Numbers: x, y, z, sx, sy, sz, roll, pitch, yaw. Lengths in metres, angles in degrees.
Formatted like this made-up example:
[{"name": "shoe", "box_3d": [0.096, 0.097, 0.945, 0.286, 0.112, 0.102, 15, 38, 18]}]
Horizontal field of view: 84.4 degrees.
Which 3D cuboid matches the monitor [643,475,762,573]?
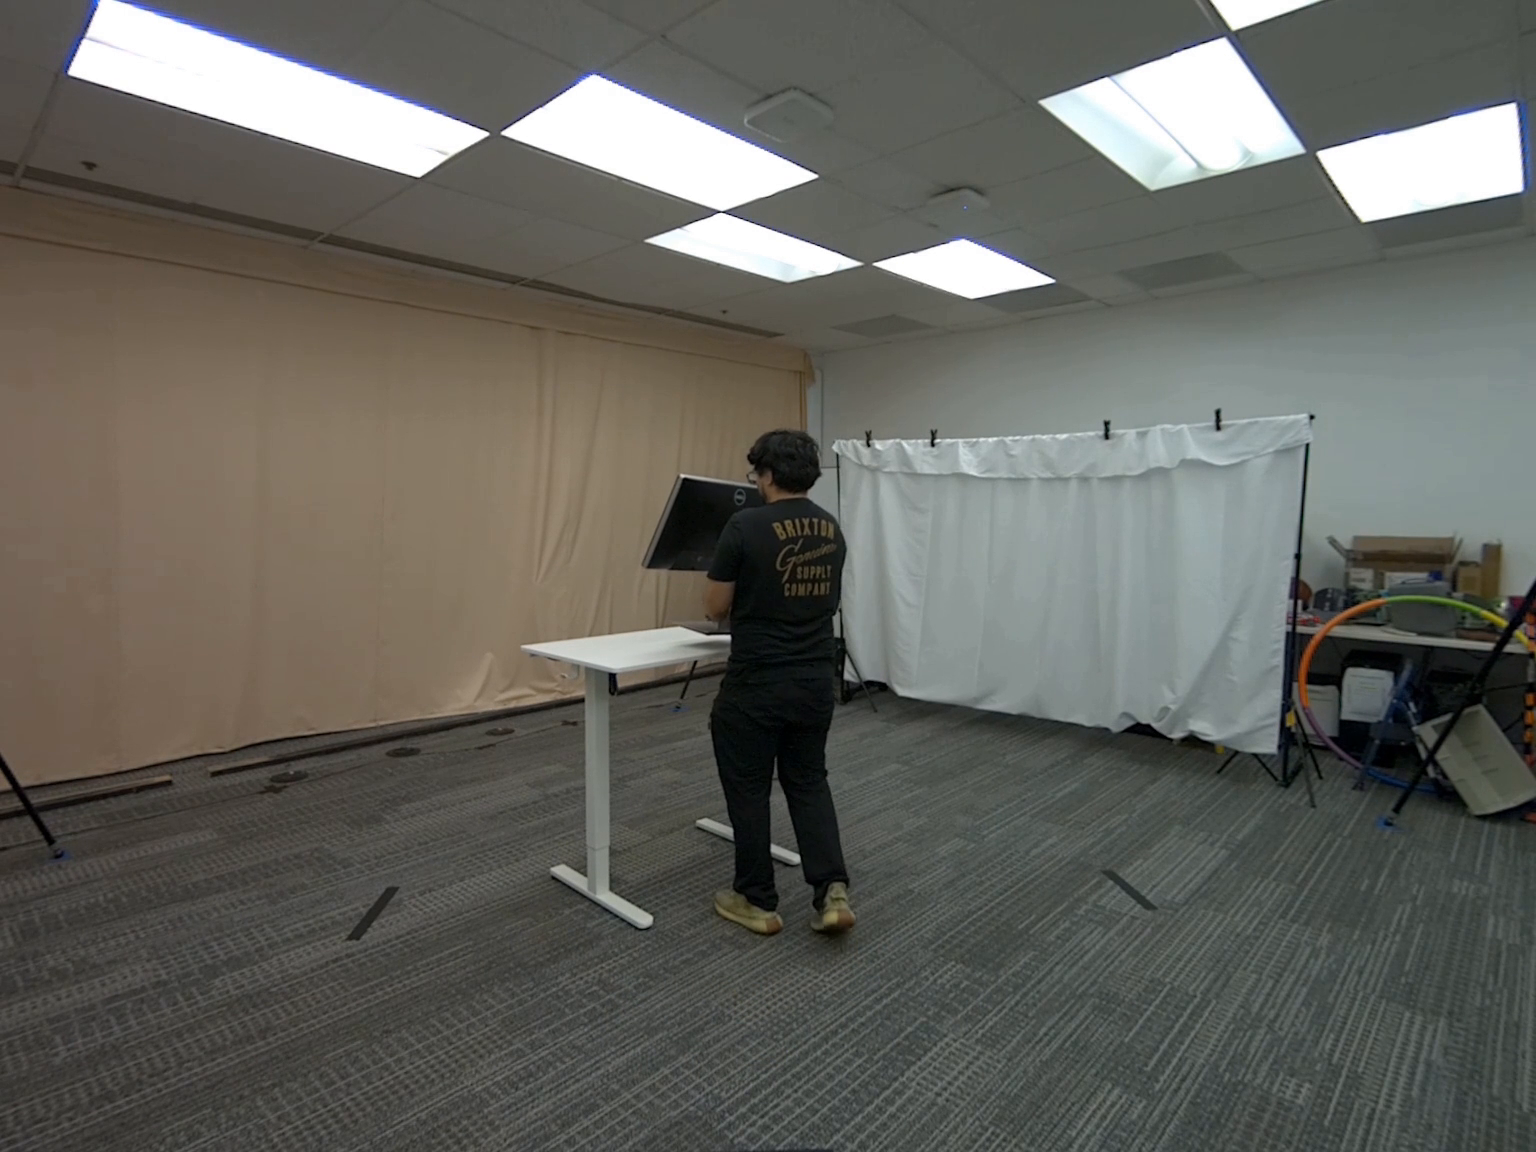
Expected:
[{"name": "monitor", "box_3d": [-0.153, -0.065, 3.041, 0.547, 0.552, 0.218, 3, 21, -47]}]
